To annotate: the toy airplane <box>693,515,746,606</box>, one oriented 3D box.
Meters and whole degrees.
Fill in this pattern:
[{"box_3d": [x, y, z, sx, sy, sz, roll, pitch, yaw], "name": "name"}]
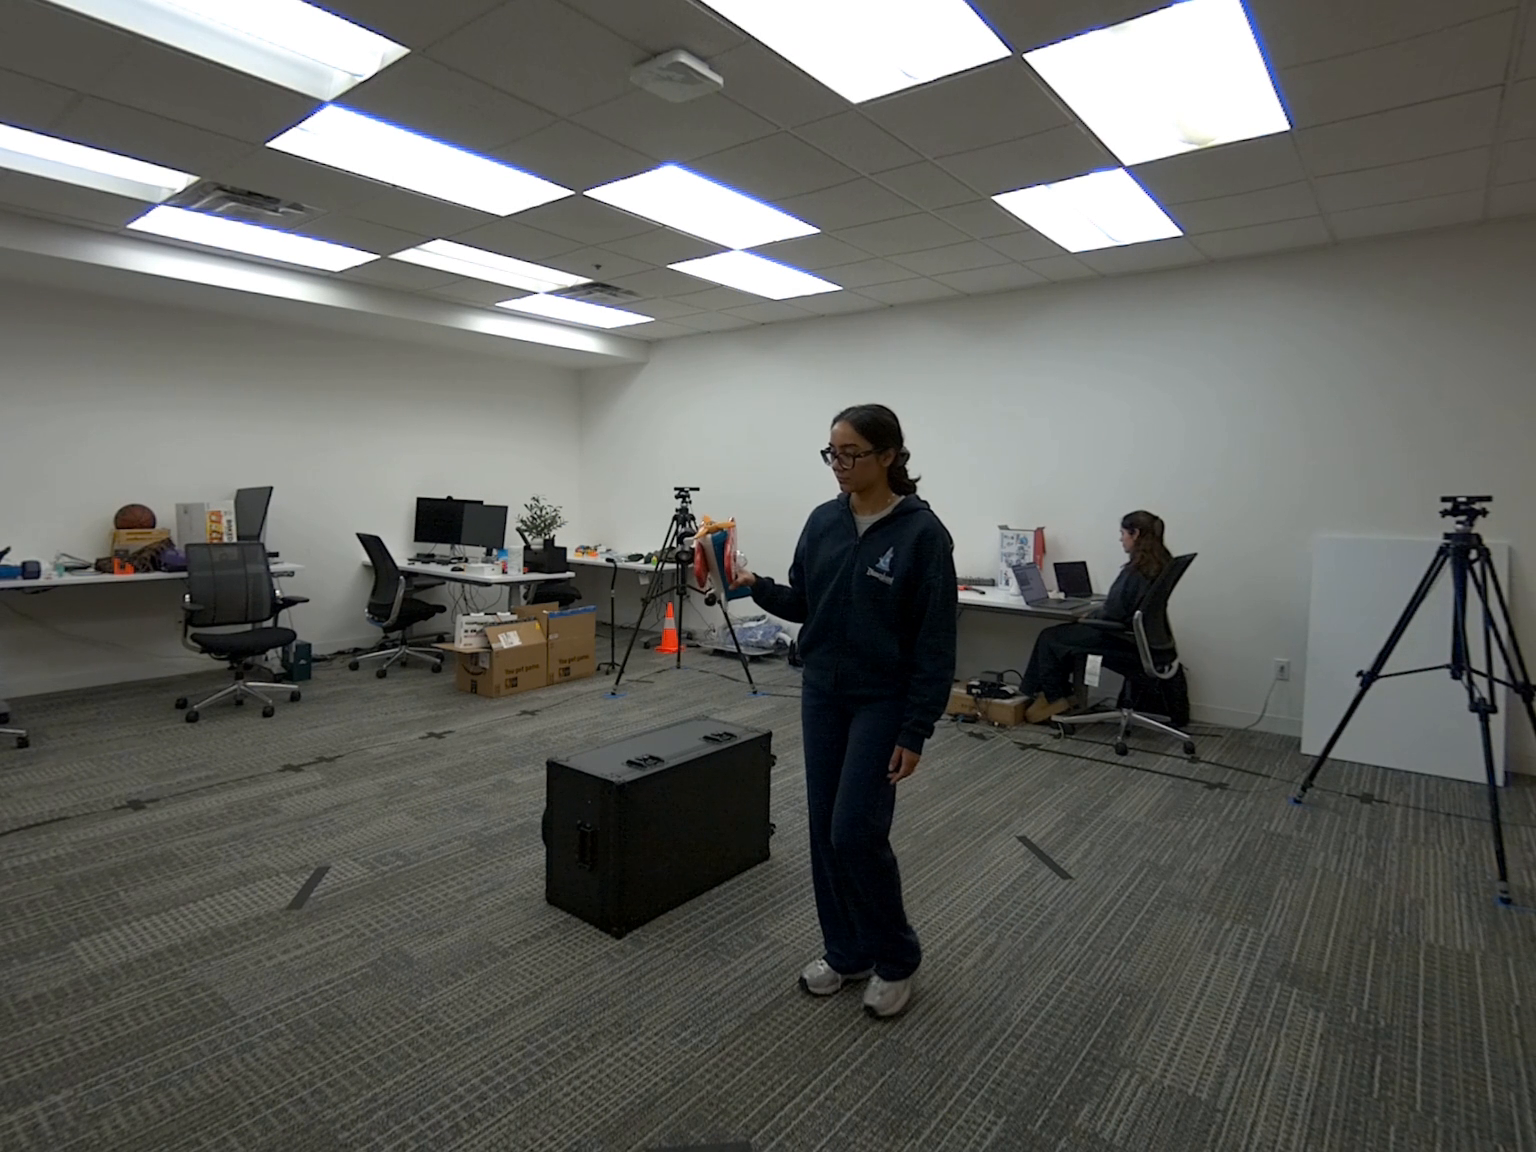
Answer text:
[{"box_3d": [-0.143, -0.044, 2.325, 0.158, 0.258, 0.249, -20, -31, 16], "name": "toy airplane"}]
